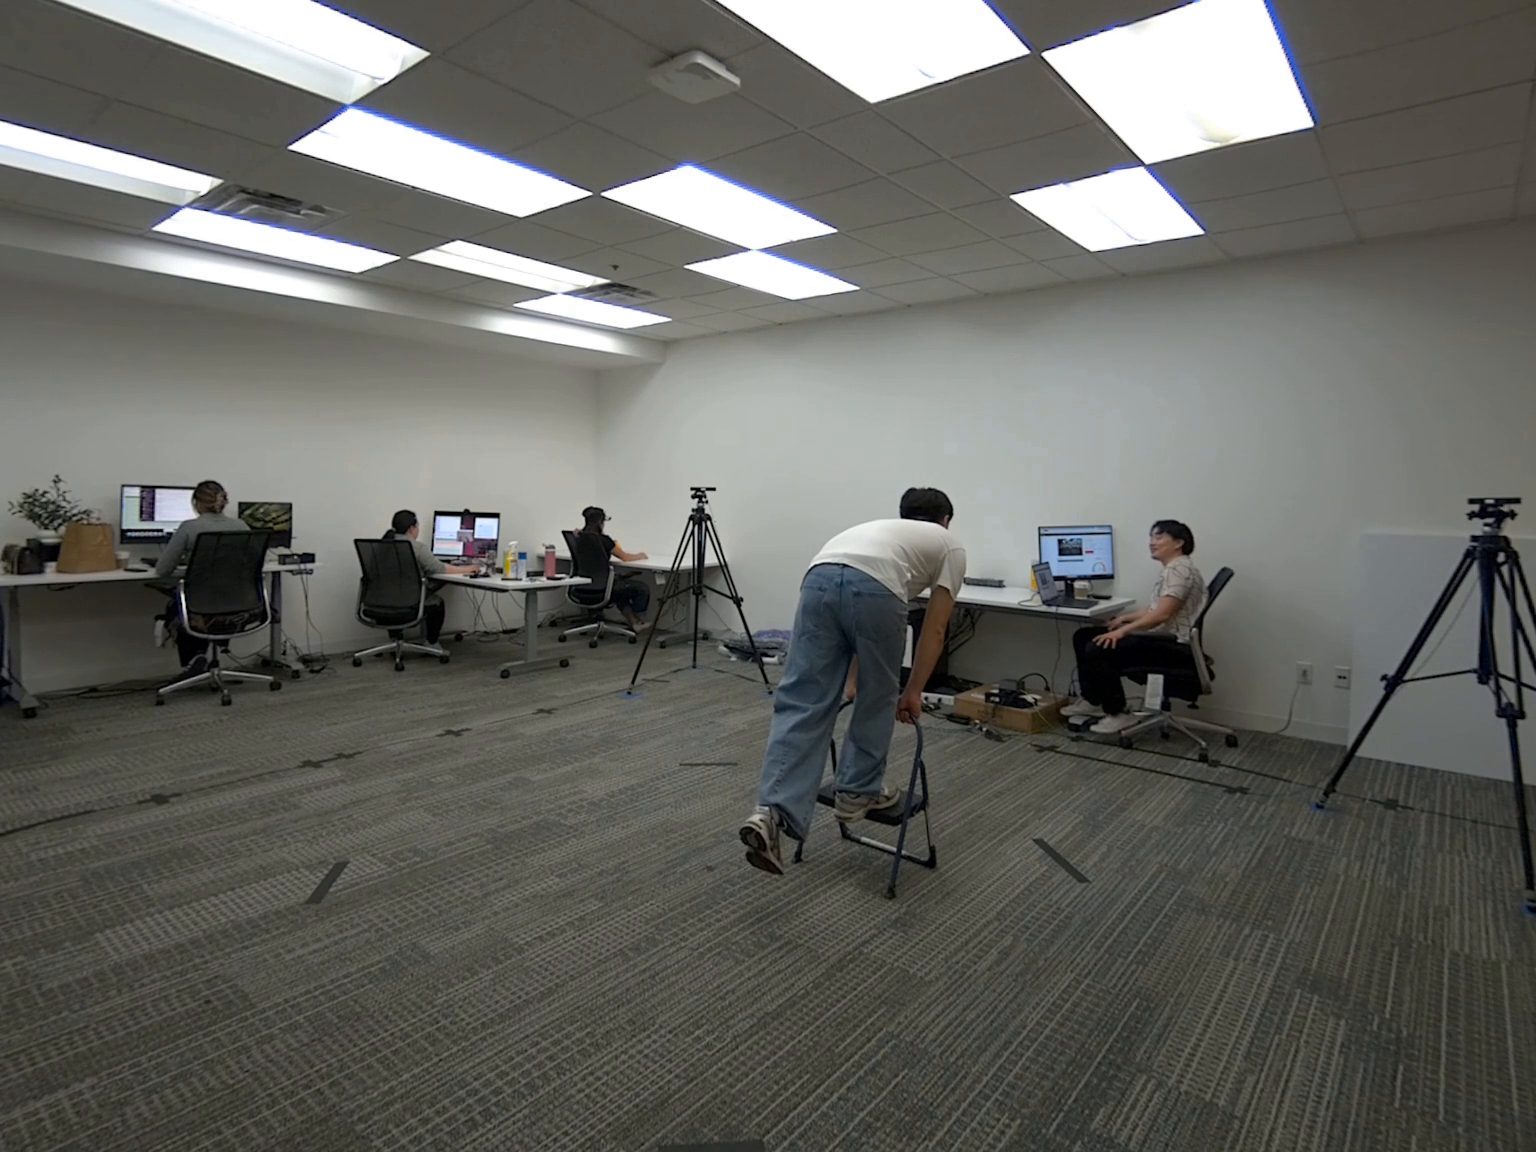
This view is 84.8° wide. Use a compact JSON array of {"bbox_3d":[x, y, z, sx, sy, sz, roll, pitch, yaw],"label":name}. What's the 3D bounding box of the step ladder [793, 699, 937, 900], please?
[{"bbox_3d":[0.363,0.770,3.160,0.445,0.604,0.339,5,5,39],"label":"step ladder"}]
